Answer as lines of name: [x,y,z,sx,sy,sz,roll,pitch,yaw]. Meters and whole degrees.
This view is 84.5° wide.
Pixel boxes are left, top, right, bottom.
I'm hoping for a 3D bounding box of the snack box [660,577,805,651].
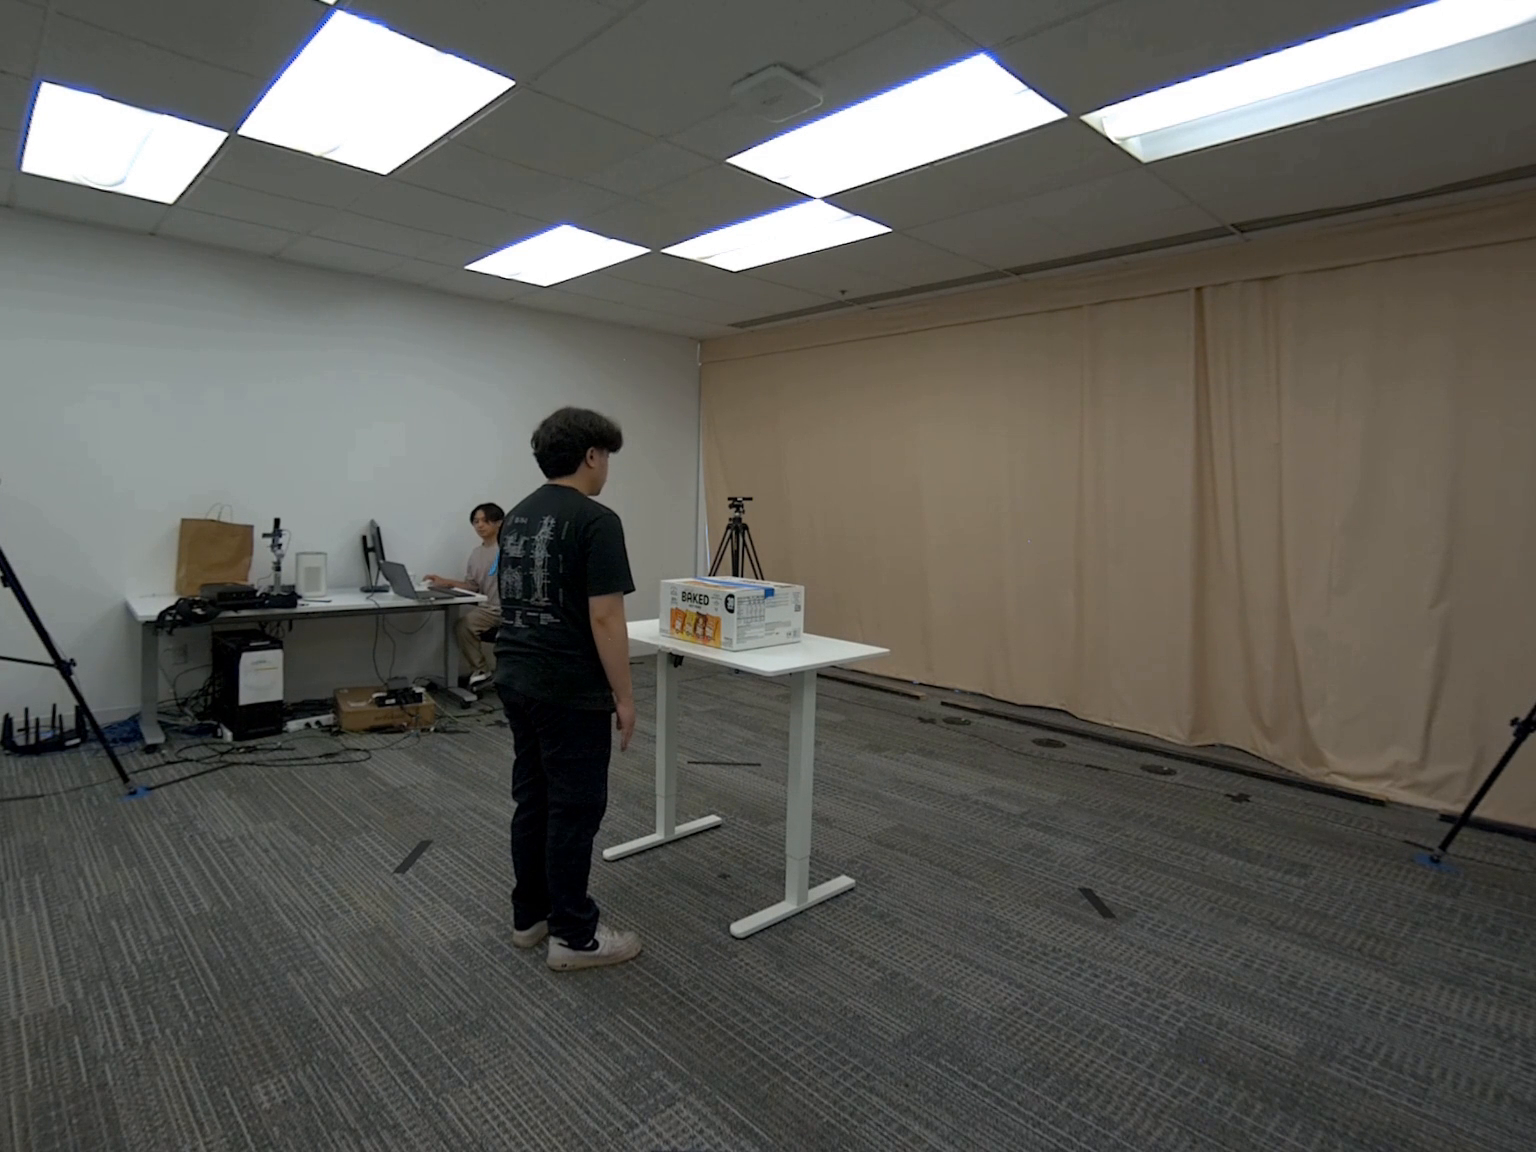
snack box: [-0.141,0.128,3.050,0.333,0.205,0.416,-4,8,-44]
